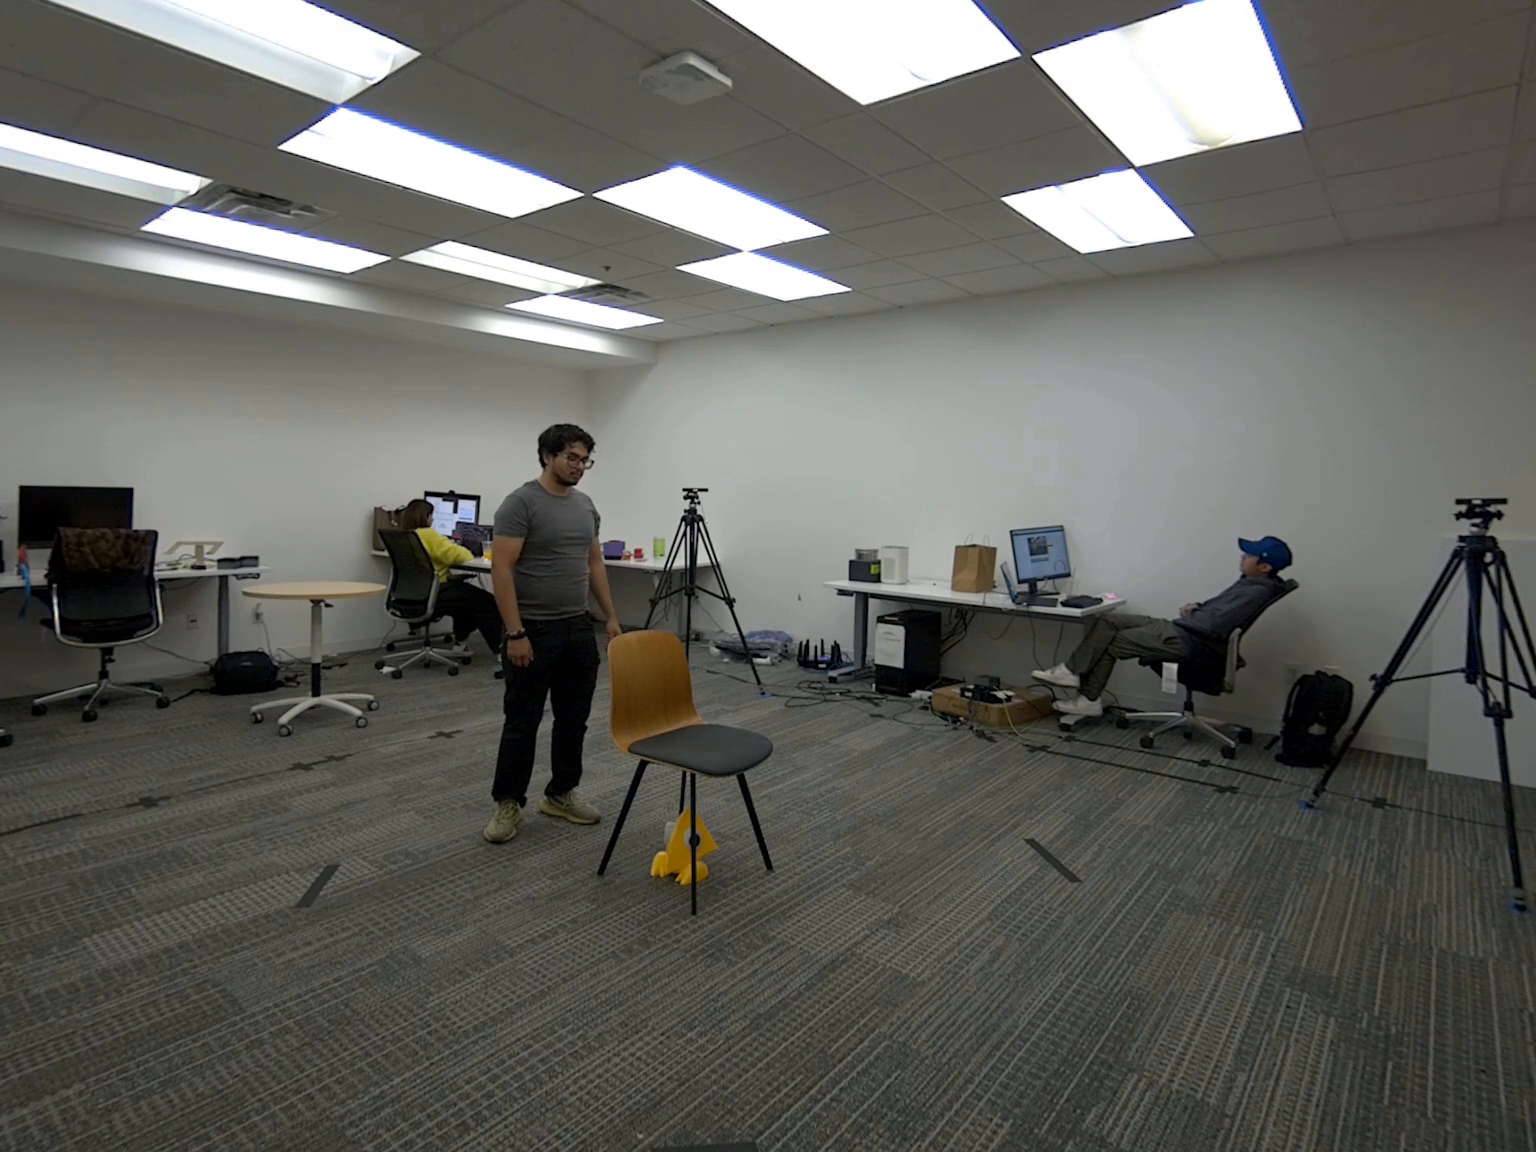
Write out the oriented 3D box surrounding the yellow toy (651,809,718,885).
[{"bbox_3d":[-0.326,0.955,3.088,0.211,0.230,0.188,3,3,30],"label":"yellow toy"}]
